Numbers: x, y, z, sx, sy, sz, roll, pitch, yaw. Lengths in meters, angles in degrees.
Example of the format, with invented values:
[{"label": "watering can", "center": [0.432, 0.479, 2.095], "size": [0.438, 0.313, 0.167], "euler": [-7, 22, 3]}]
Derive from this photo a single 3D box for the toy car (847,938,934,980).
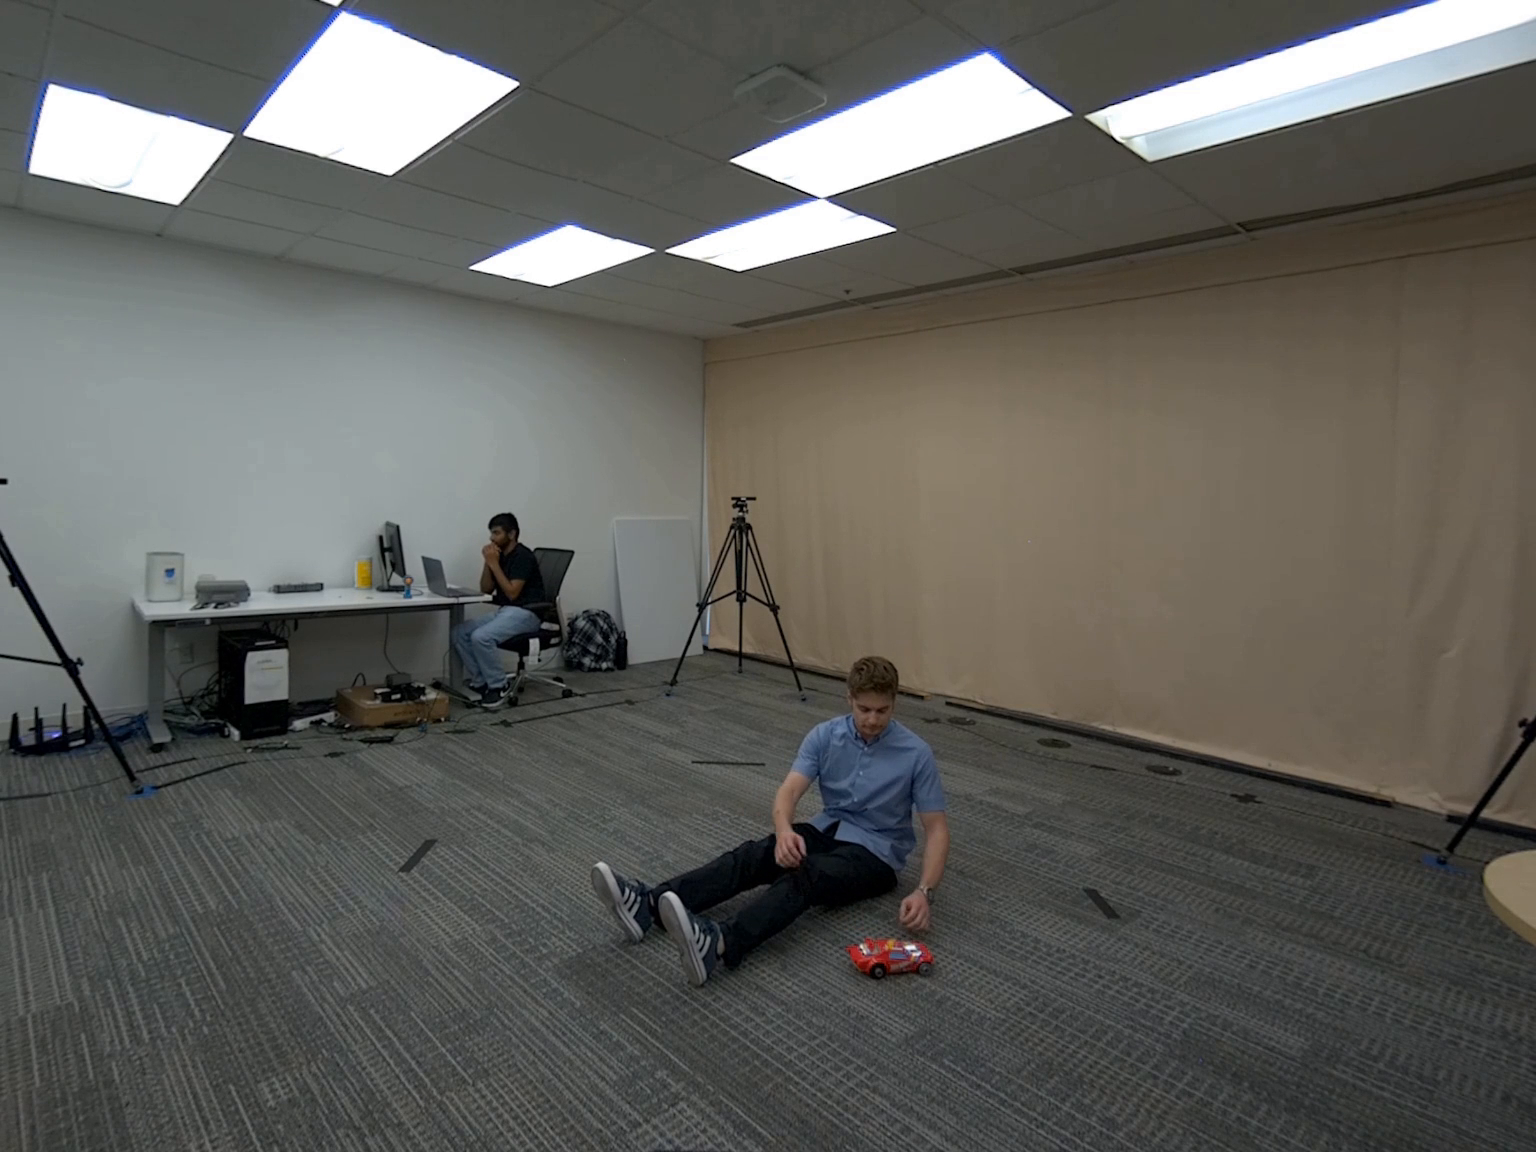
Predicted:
[{"label": "toy car", "center": [0.353, 1.144, 2.512], "size": [0.252, 0.083, 0.132], "euler": [11, 2, -12]}]
